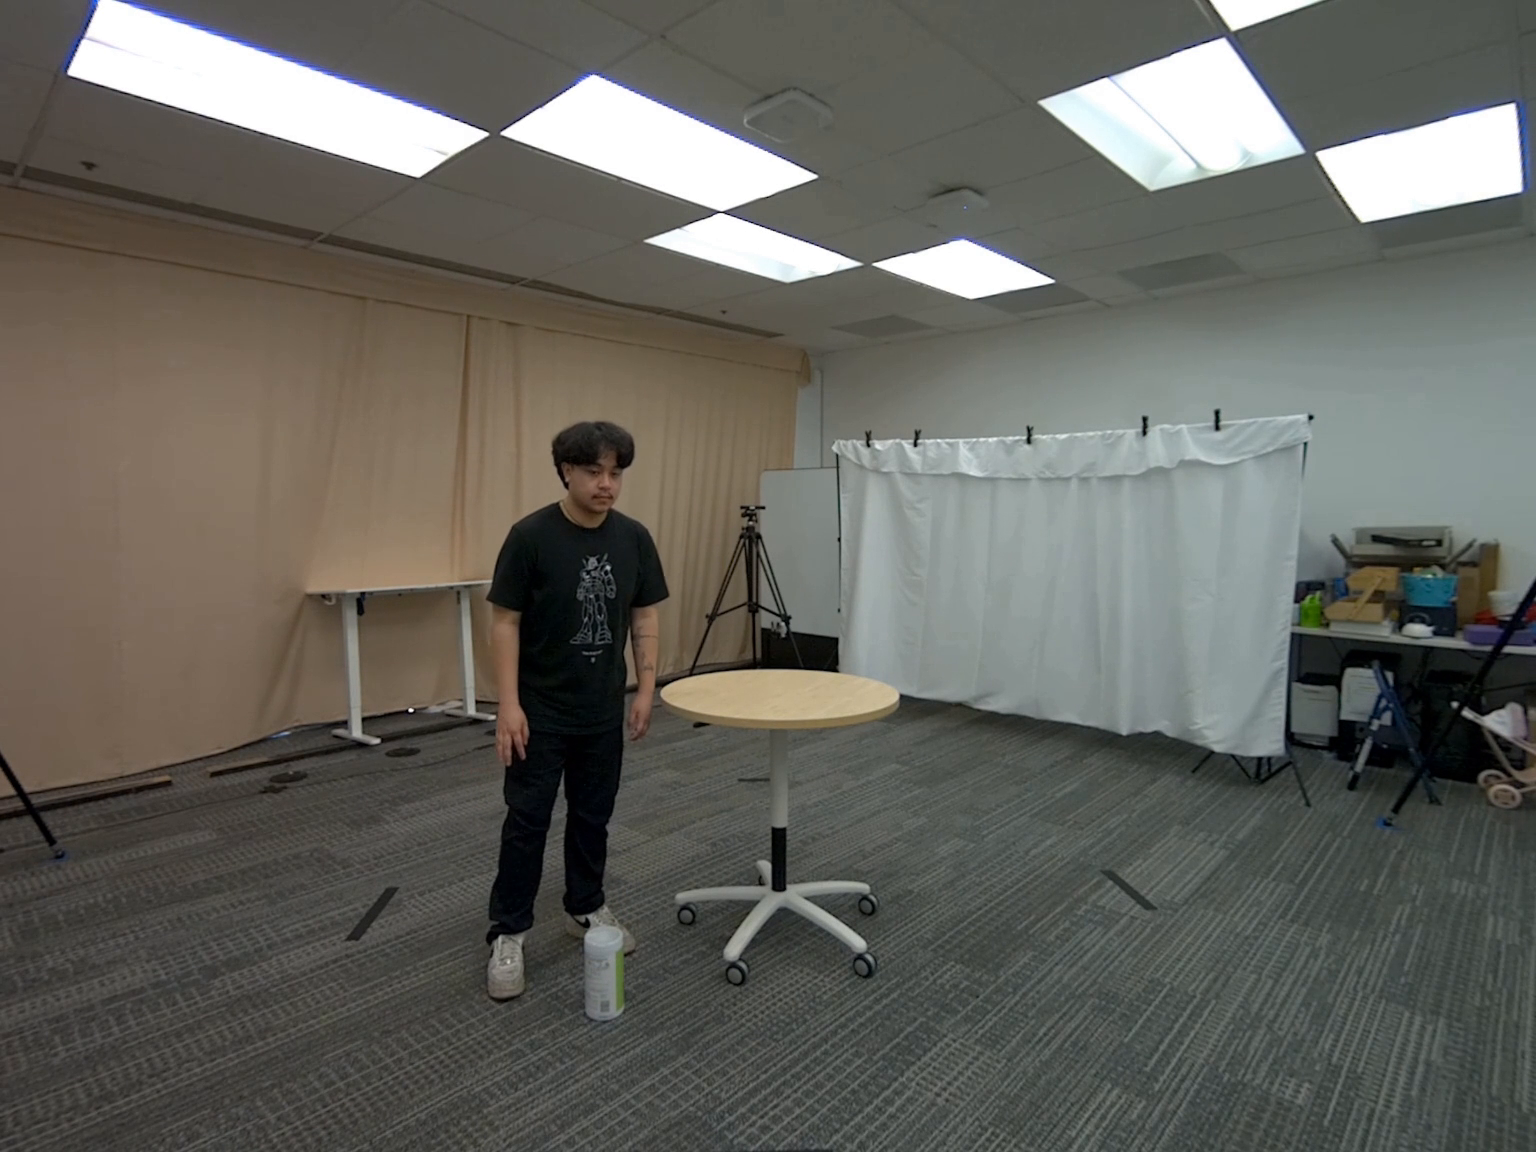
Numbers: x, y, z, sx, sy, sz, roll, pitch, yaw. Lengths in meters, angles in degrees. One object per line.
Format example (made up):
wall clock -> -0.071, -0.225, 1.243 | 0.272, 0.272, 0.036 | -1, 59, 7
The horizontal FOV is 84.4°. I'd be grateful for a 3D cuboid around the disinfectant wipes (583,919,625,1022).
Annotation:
disinfectant wipes -> -0.459, 1.092, 2.322 | 0.118, 0.217, 0.118 | 1, 2, -2
